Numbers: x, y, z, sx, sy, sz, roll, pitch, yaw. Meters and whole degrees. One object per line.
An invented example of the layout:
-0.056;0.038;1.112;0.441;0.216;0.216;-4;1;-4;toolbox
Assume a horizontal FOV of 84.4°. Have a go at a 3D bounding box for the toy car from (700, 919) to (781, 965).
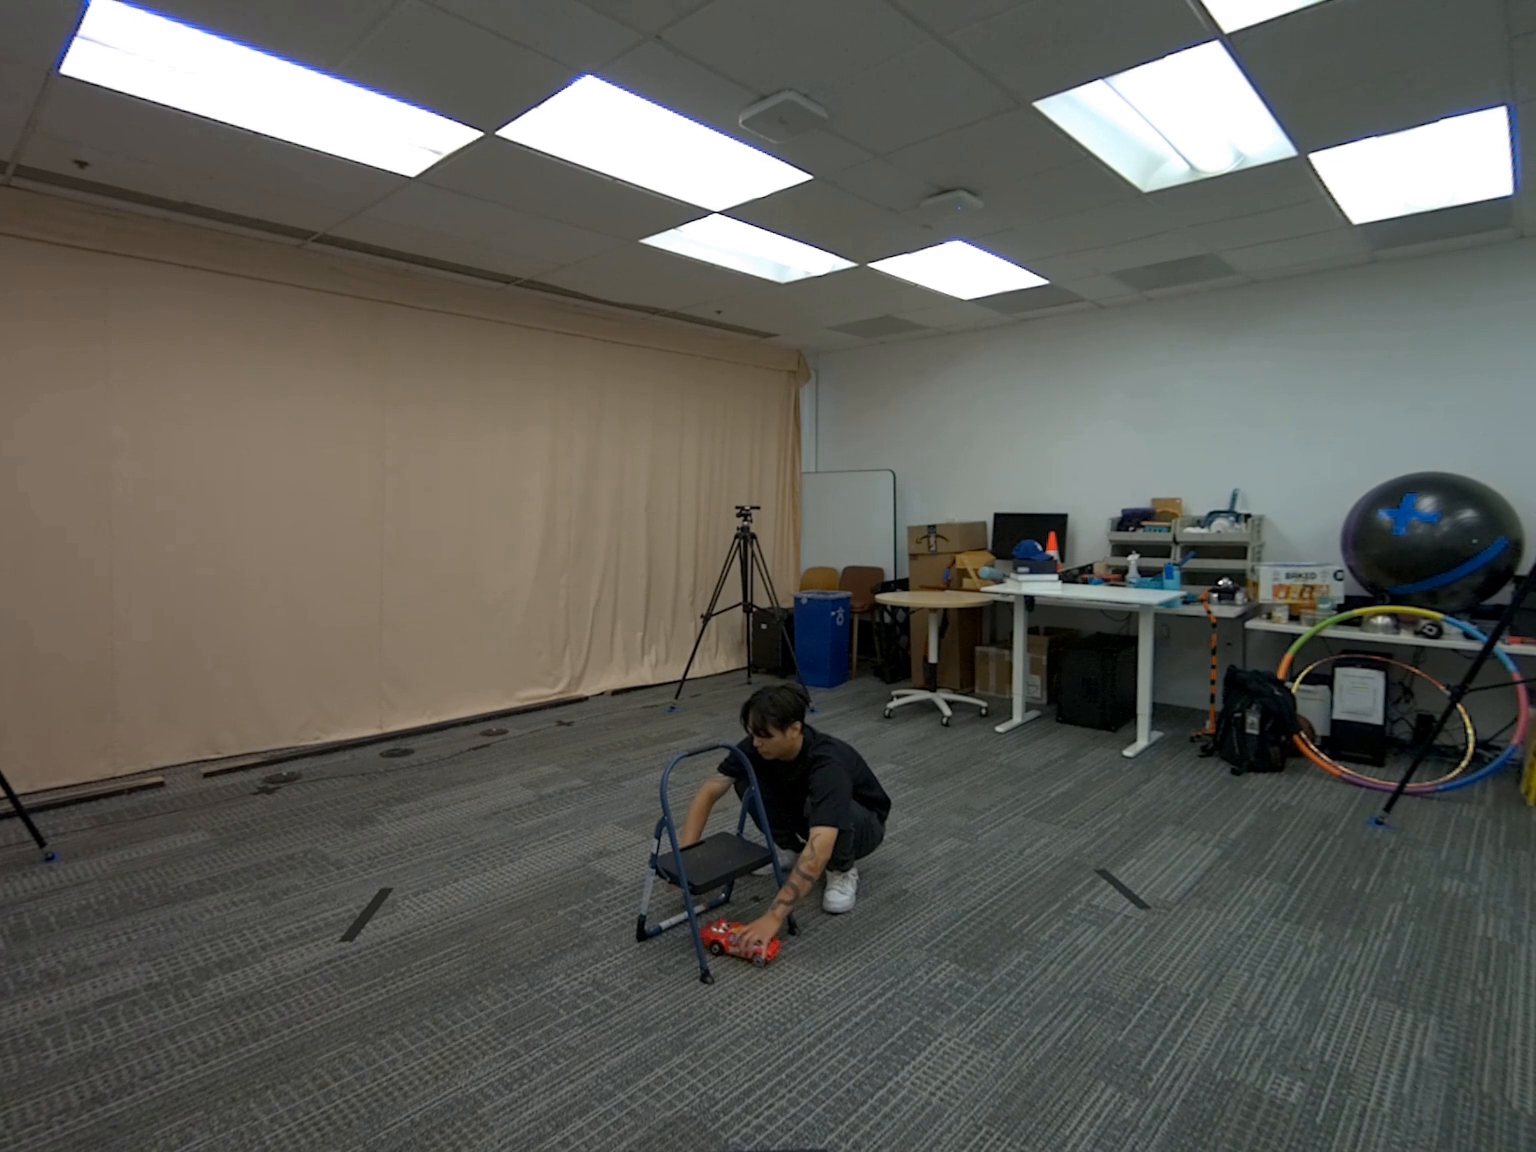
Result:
-0.083;1.147;2.624;0.262;0.083;0.127;14;11;25;toy car
